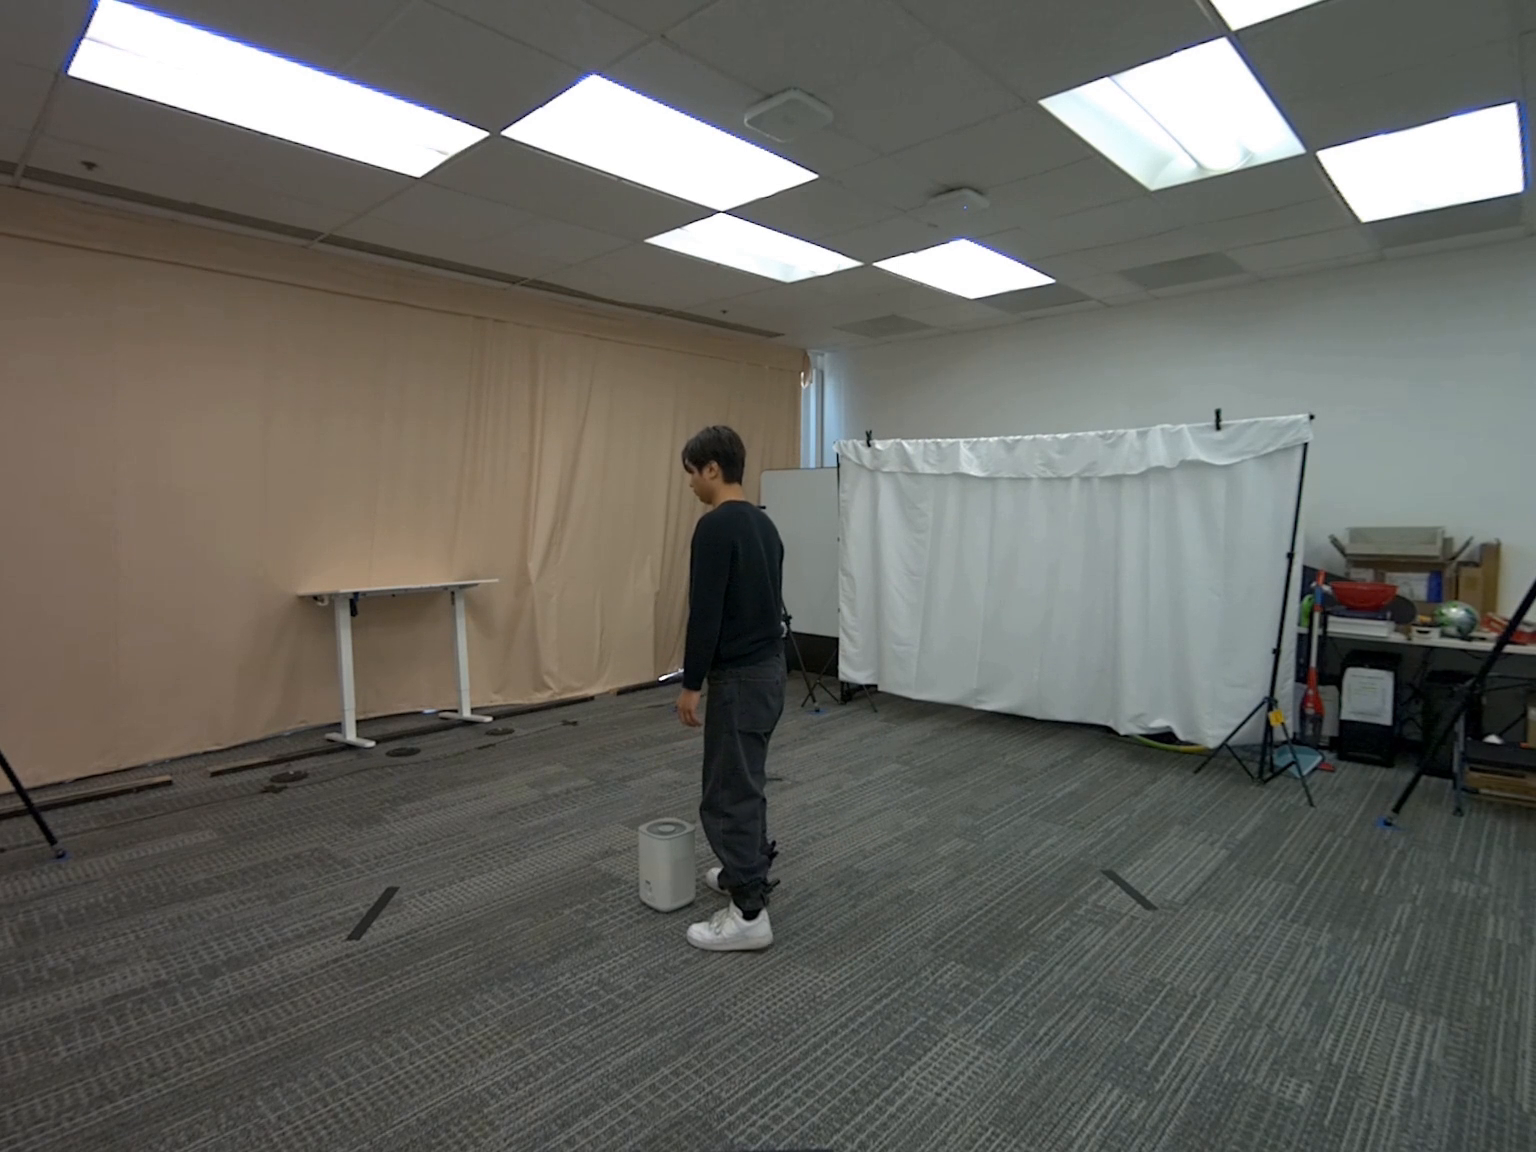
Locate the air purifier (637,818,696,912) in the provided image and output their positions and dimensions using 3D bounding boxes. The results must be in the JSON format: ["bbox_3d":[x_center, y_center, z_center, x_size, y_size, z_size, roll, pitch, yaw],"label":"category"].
[{"bbox_3d":[-0.353,1.023,2.955,0.177,0.265,0.166,3,4,44],"label":"air purifier"}]
